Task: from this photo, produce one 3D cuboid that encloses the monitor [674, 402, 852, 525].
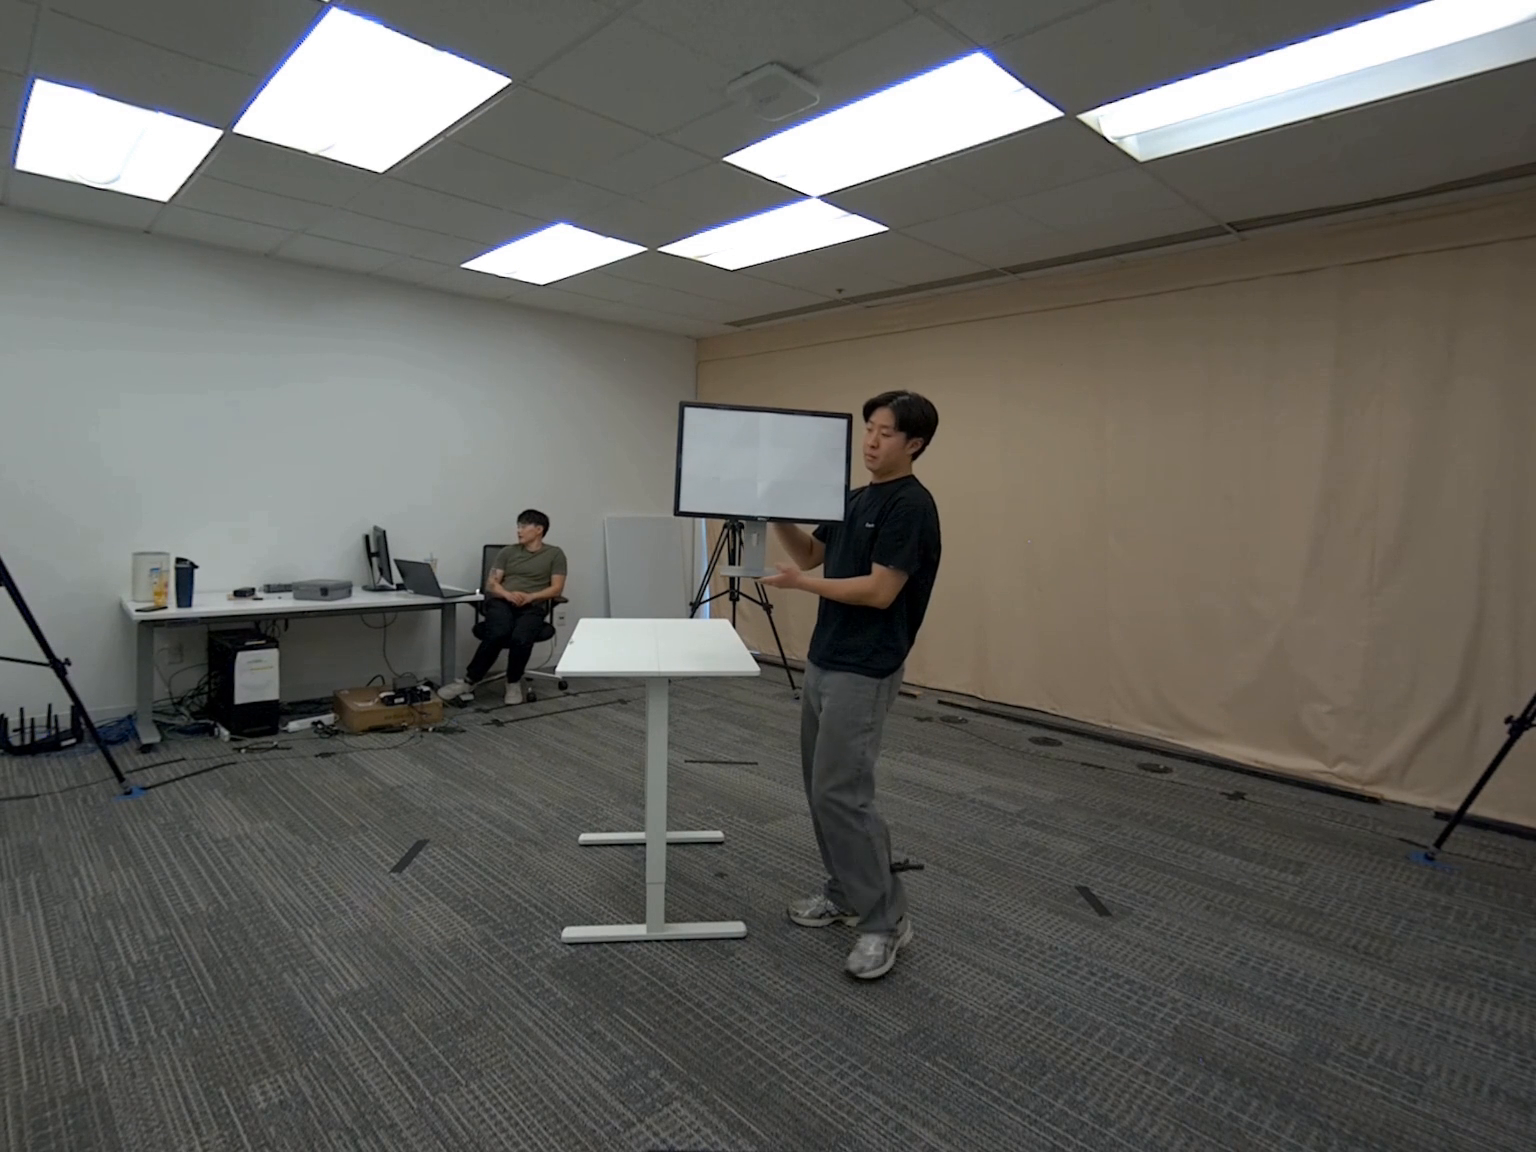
[{"bbox_3d":[-0.029,-0.252,2.693,0.560,0.562,0.224,3,9,-4],"label":"monitor"}]
